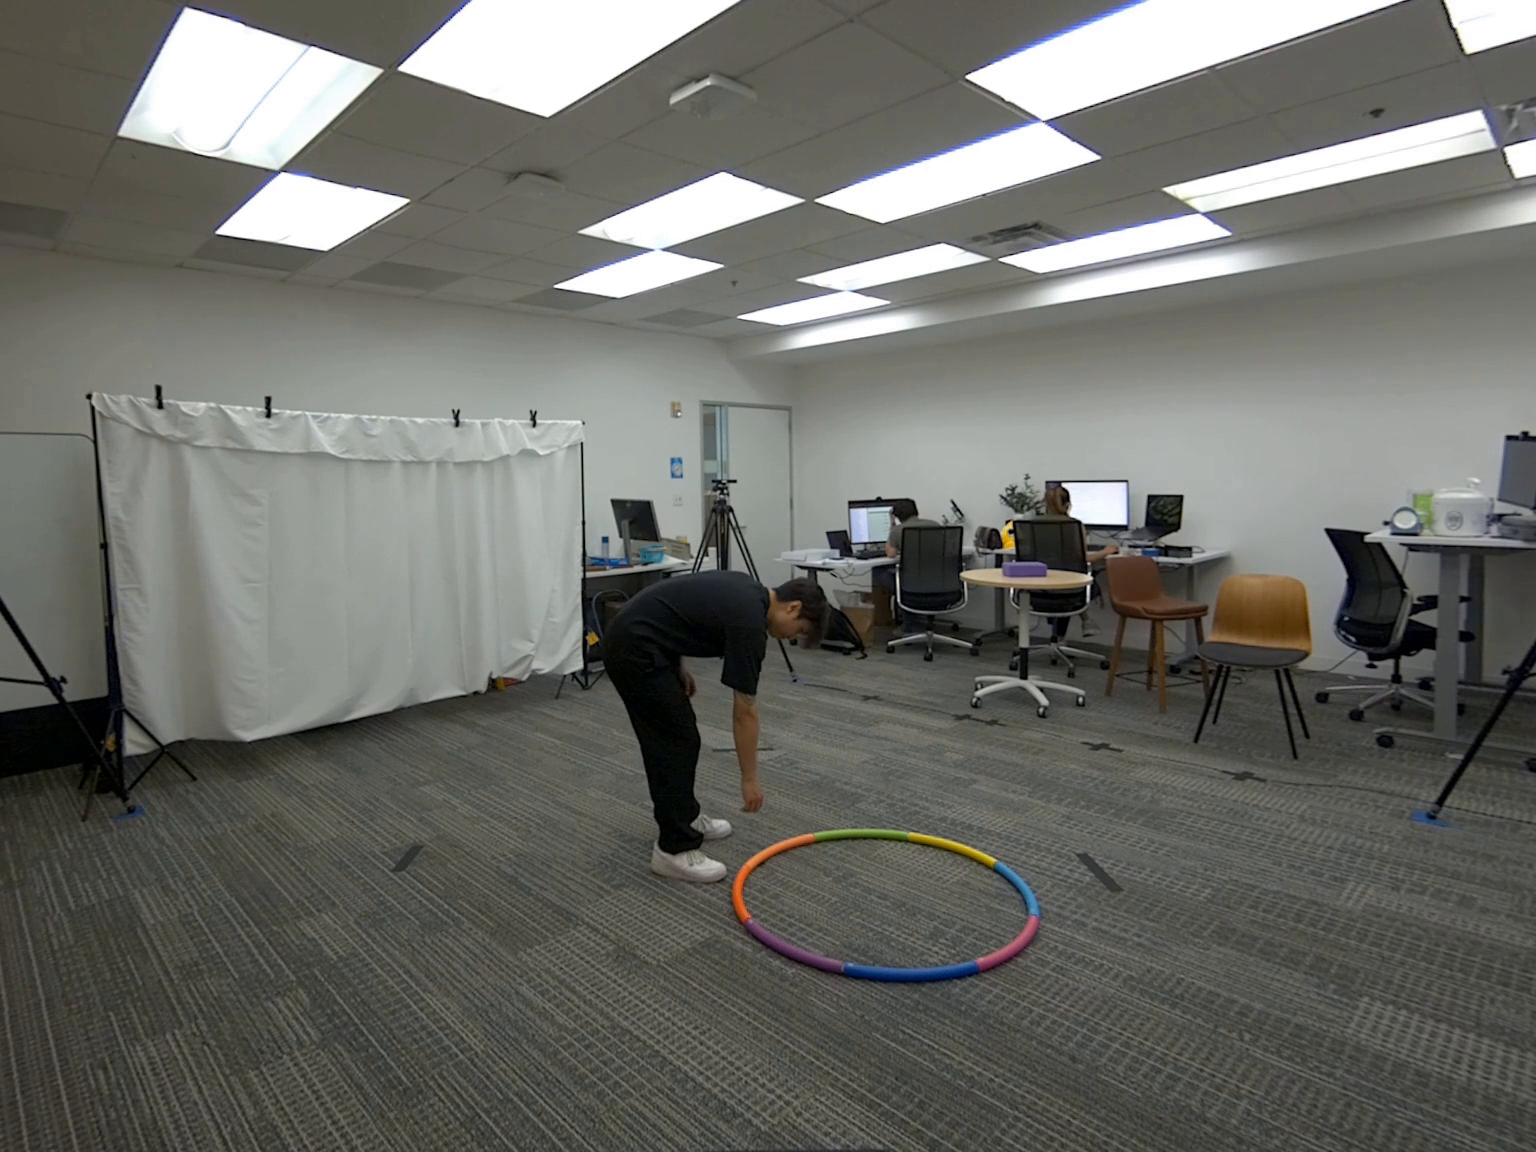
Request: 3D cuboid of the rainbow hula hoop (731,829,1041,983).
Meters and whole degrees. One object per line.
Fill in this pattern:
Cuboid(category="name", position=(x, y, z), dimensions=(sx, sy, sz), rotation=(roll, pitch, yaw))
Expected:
Cuboid(category="rainbow hula hoop", position=(0.371, 1.041, 2.847), dimensions=(0.978, 0.035, 0.984), rotation=(-2, 7, -2))
